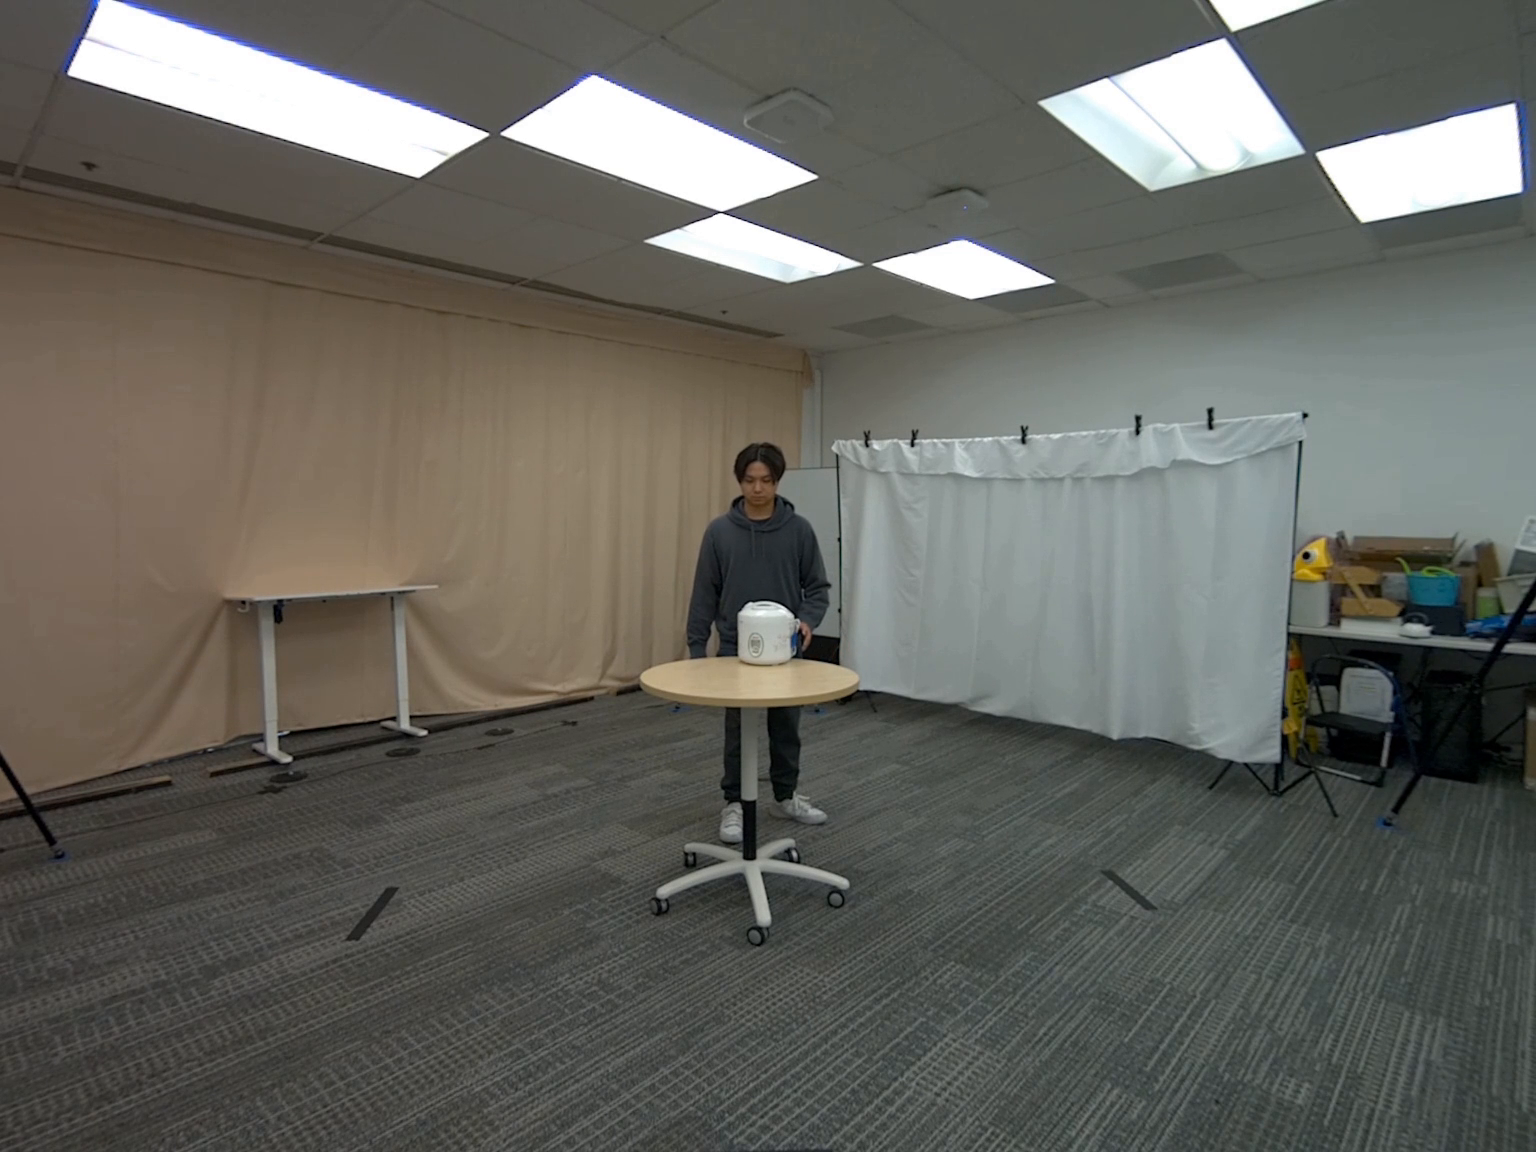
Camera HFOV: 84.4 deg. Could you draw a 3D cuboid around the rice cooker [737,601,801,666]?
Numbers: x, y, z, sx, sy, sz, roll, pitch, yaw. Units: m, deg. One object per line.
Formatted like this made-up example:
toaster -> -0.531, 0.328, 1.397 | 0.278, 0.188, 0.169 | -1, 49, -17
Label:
rice cooker -> -0.010, 0.213, 3.222 | 0.225, 0.232, 0.213 | 1, 2, 21
